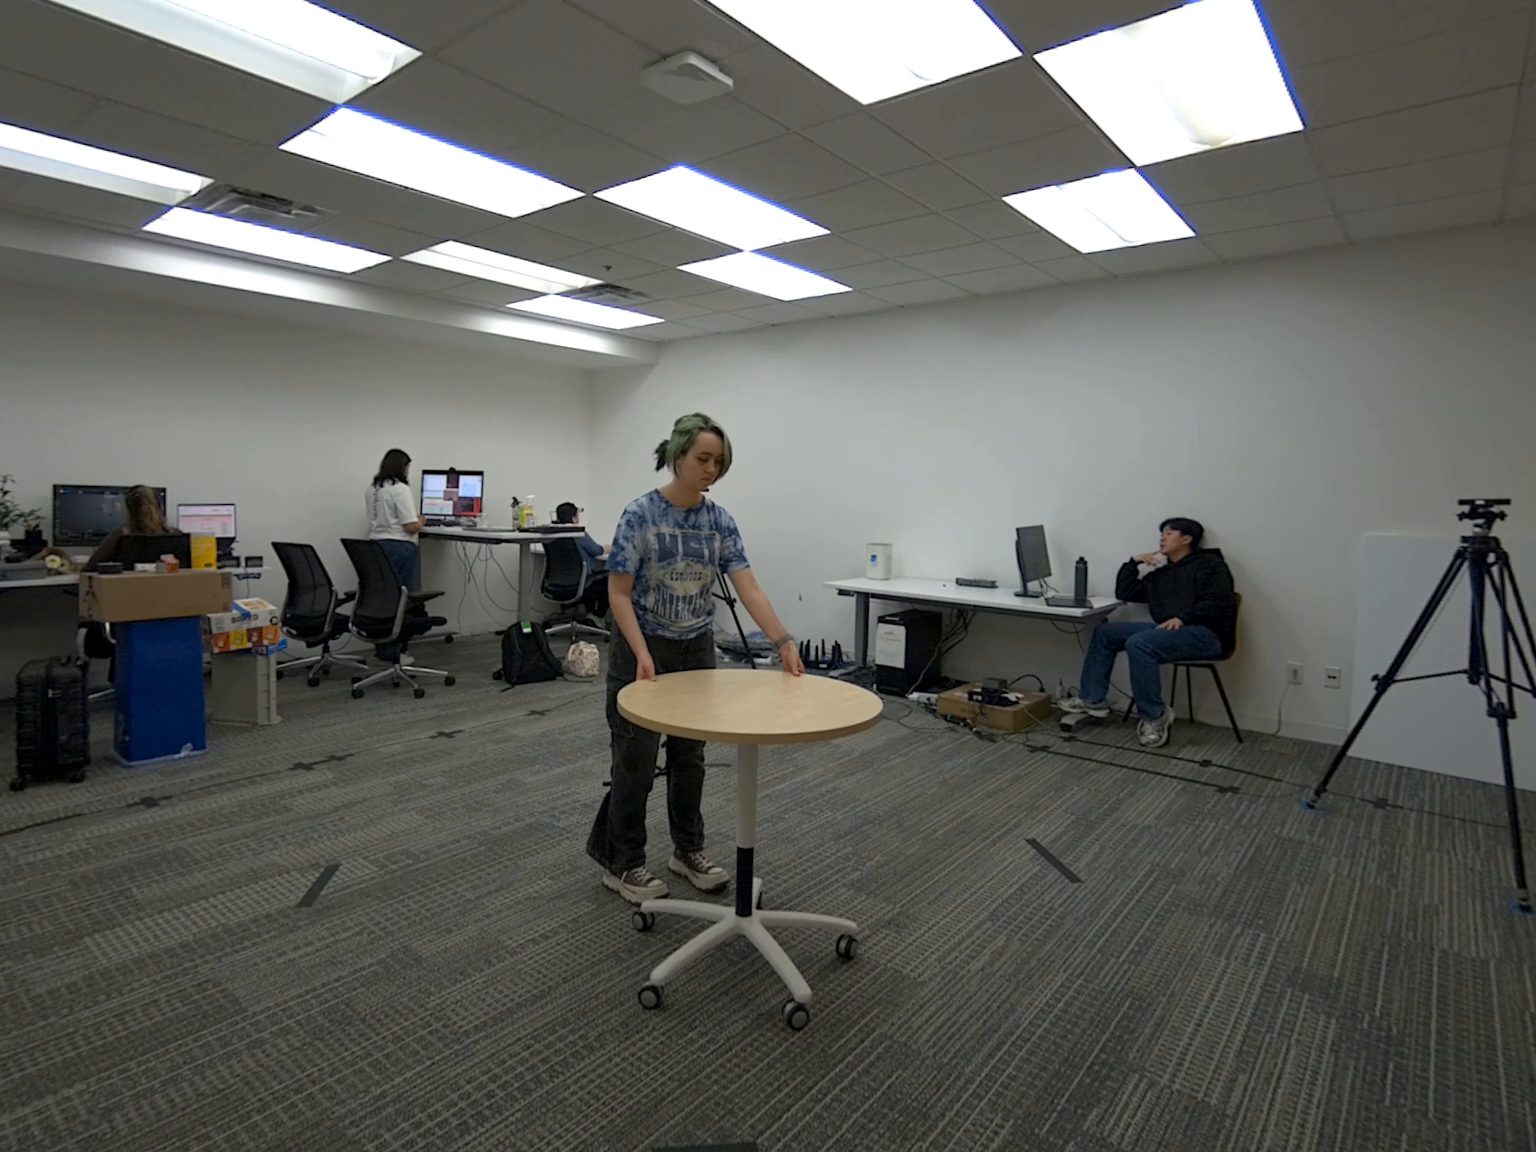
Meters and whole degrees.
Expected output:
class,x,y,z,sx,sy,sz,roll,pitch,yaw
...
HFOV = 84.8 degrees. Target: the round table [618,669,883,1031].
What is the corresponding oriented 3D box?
class,x,y,z,sx,sy,sz,roll,pitch,yaw
round table,-0.075,0.741,2.500,0.763,0.791,0.768,1,4,-2
